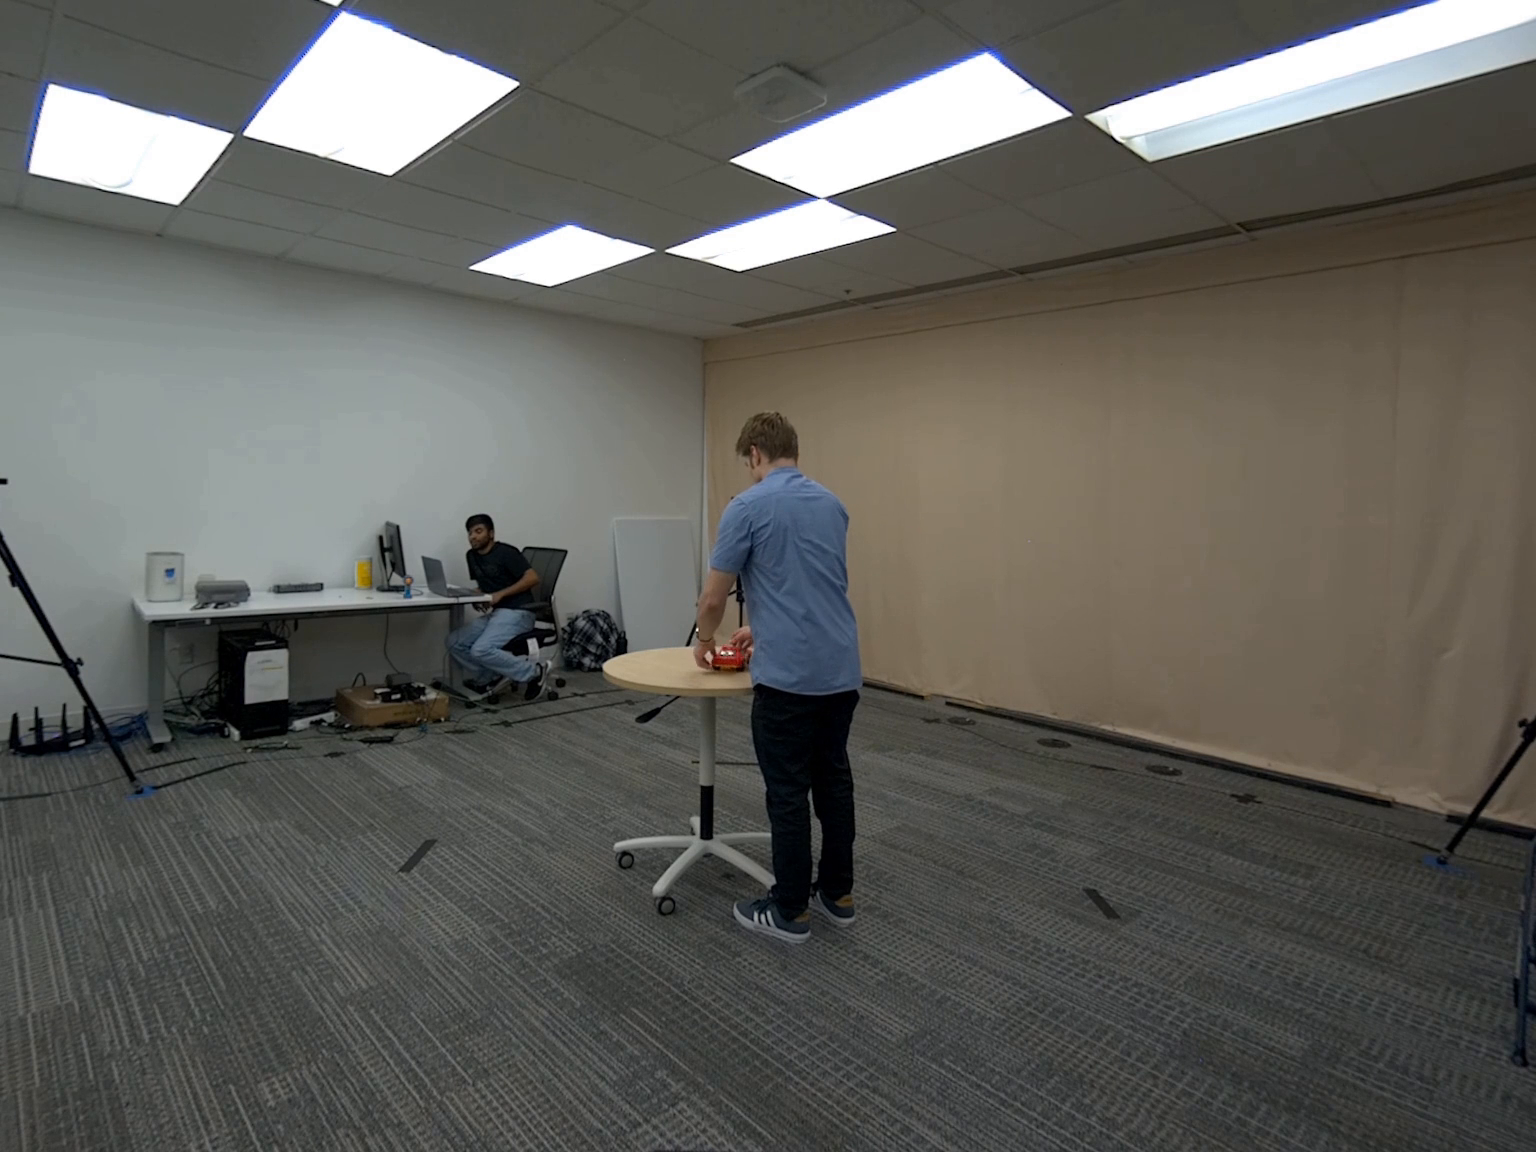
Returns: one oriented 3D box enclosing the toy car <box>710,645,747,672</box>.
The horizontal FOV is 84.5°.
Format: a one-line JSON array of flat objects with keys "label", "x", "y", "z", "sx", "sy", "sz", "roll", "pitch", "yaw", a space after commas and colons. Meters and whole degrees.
[{"label": "toy car", "x": -0.139, "y": 0.298, "z": 3.027, "sx": 0.131, "sy": 0.083, "sz": 0.251, "roll": 4, "pitch": -6, "yaw": 11}]
